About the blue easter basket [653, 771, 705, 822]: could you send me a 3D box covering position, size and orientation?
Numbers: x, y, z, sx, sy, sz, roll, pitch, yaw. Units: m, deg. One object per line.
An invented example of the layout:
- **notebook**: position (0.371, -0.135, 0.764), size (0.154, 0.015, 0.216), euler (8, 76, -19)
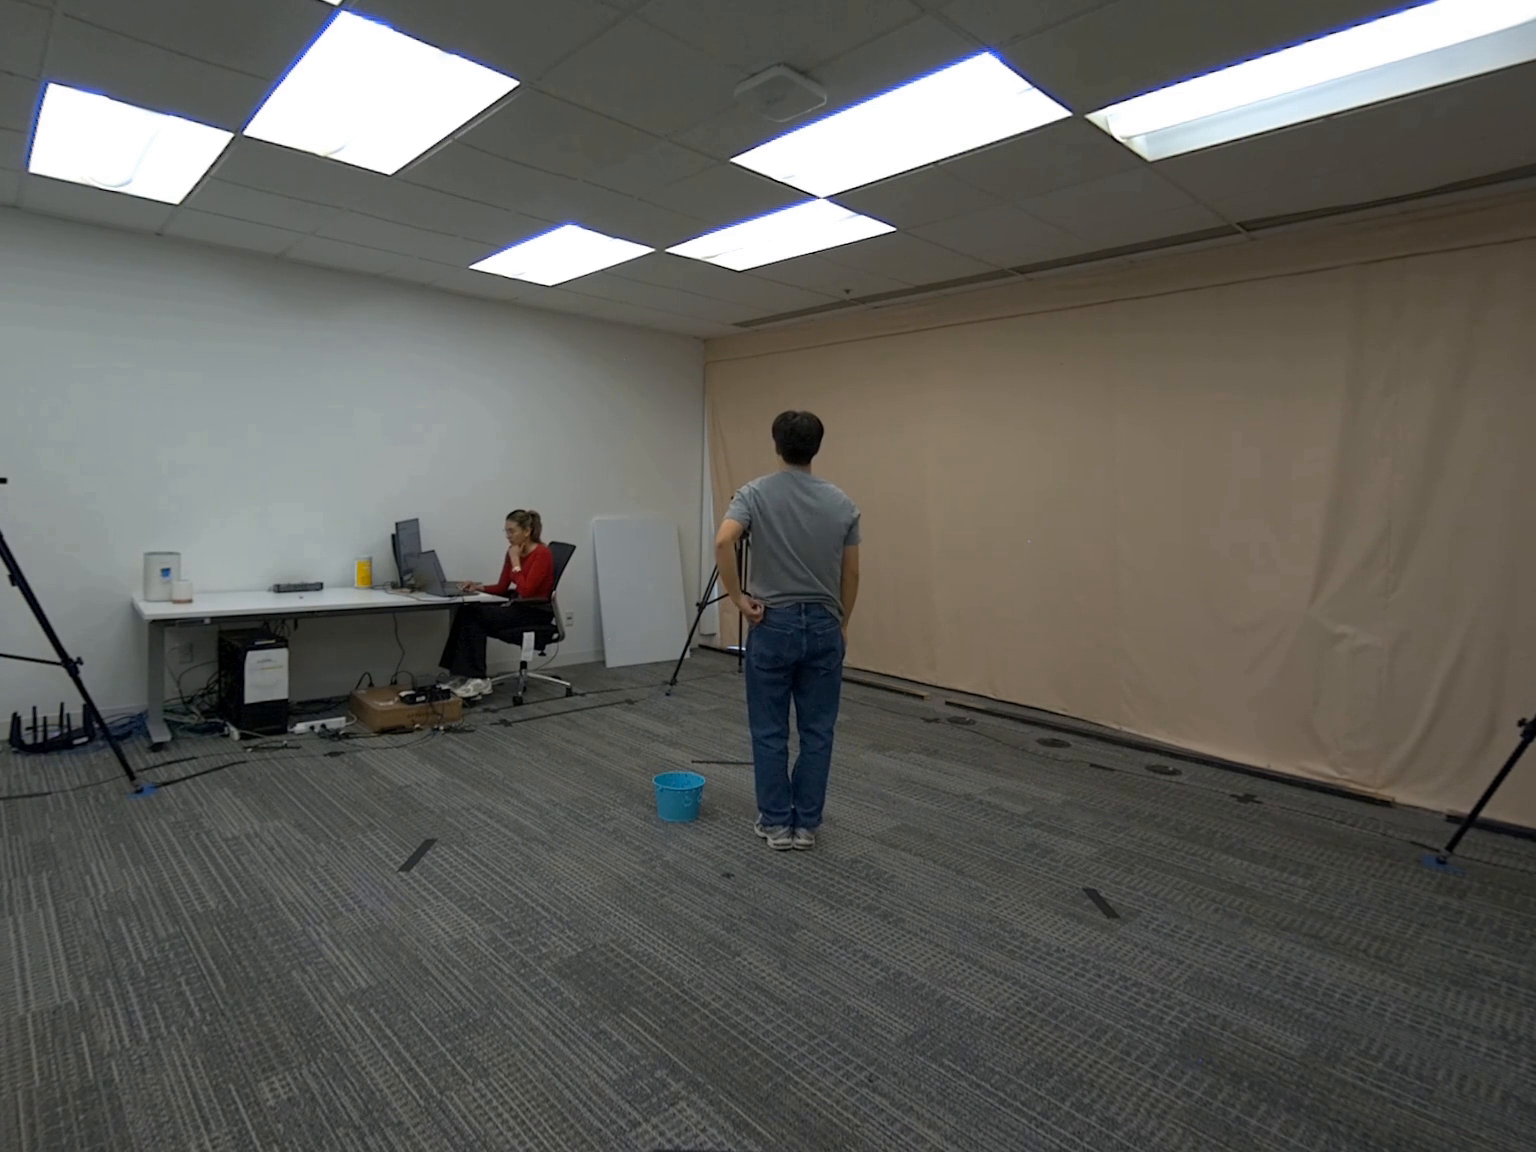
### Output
- **blue easter basket**: position (-0.404, 0.971, 3.706), size (0.243, 0.155, 0.244), euler (1, 5, -1)
